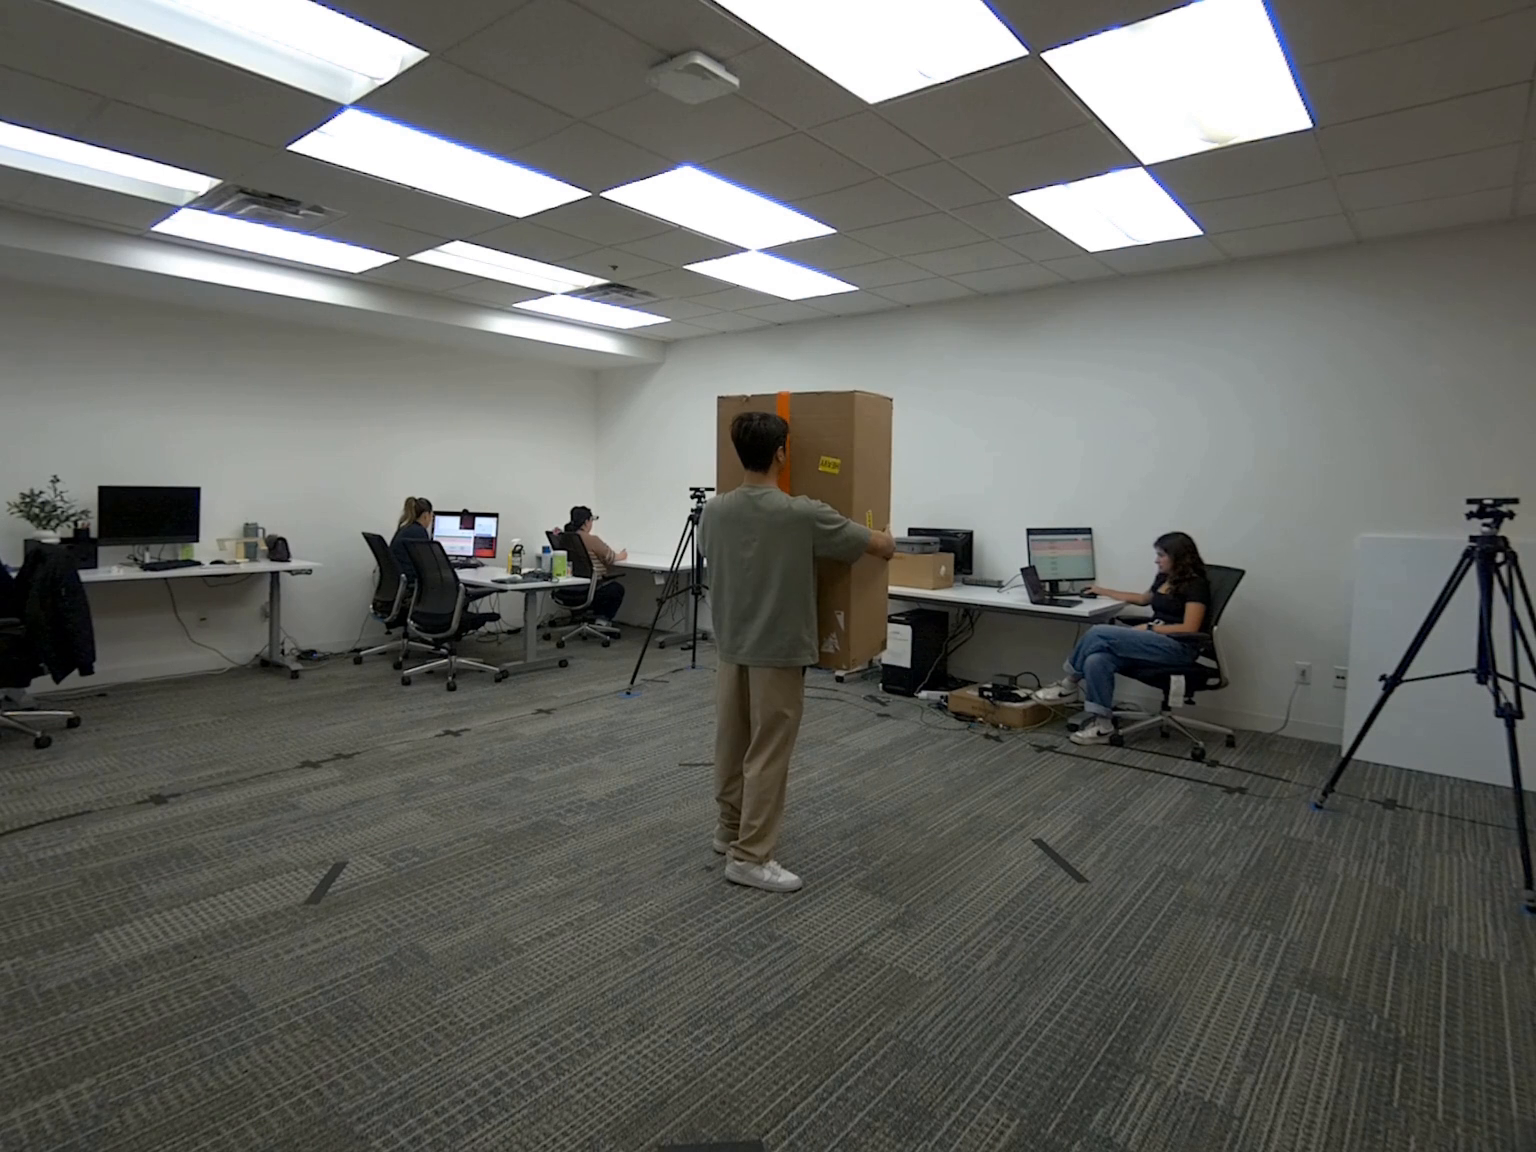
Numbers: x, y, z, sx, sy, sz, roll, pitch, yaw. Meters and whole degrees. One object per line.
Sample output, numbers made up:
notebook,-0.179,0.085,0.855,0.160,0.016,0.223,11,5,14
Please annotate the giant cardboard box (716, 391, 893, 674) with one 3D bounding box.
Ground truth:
giant cardboard box,0.137,-0.203,3.382,0.595,1.021,0.416,4,6,30
